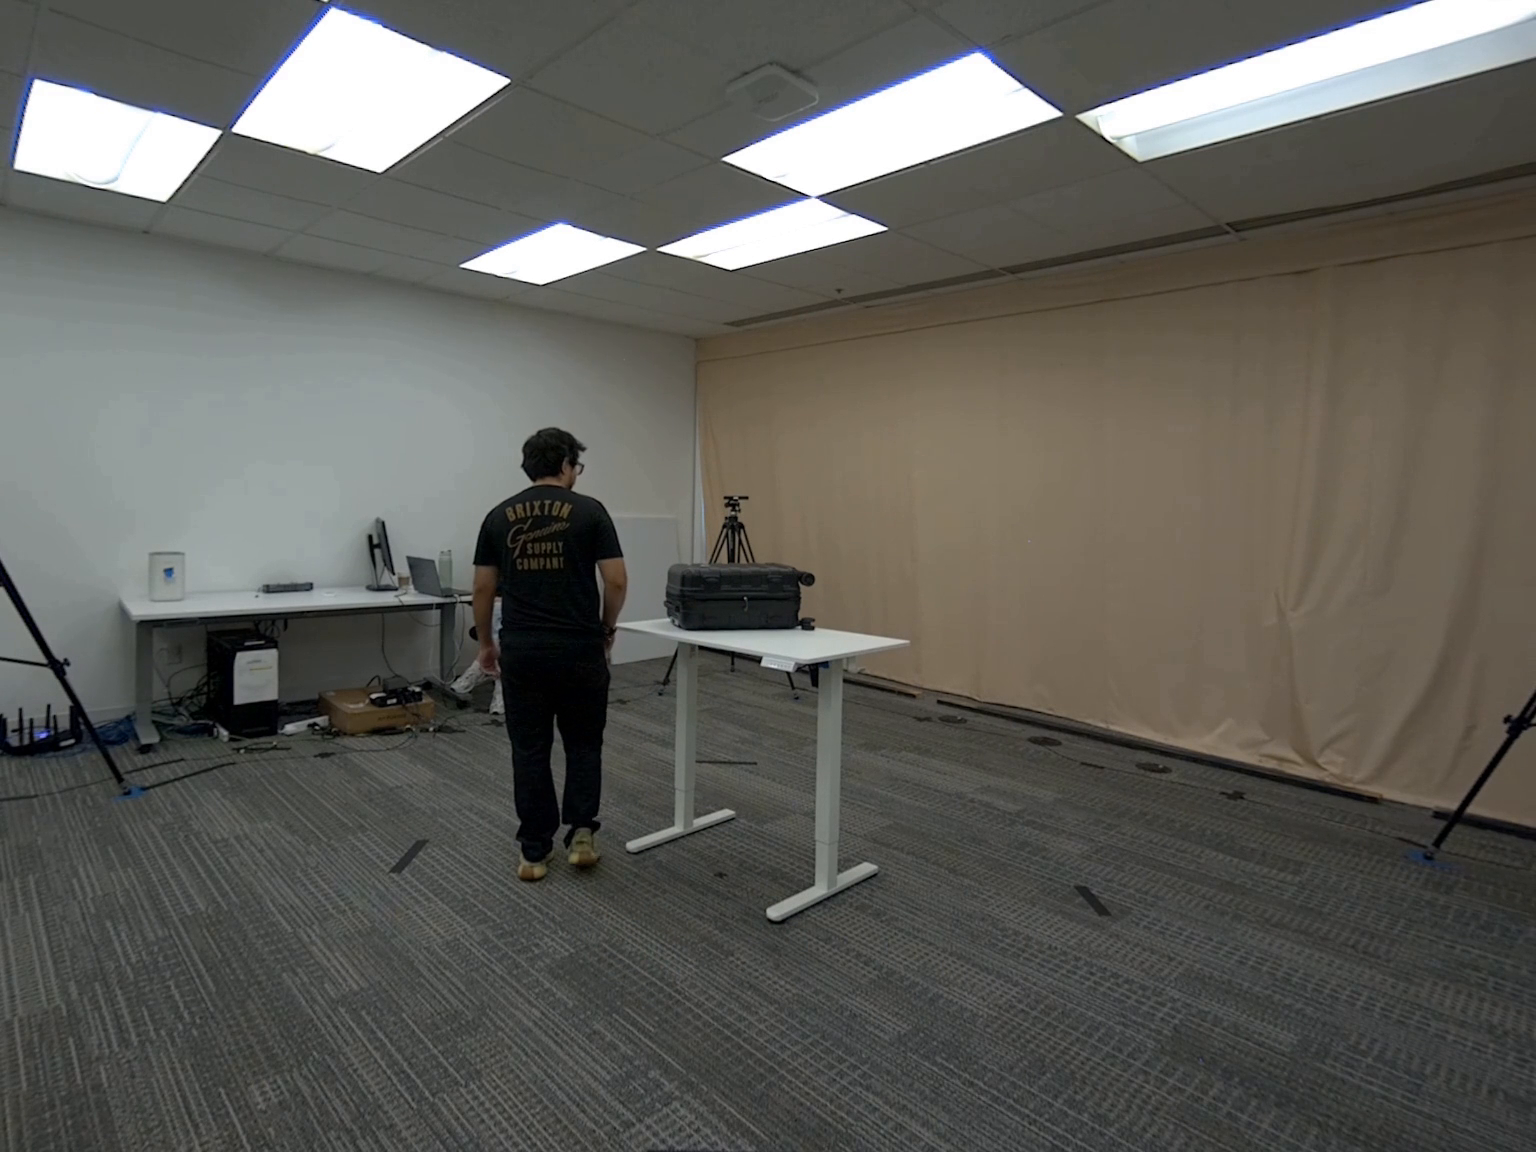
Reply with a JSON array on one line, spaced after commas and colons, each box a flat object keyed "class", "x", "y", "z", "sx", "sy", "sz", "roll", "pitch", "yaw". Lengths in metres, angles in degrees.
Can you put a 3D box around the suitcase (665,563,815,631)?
[{"class": "suitcase", "x": -0.134, "y": 0.081, "z": 3.385, "sx": 0.542, "sy": 0.248, "sz": 0.381, "roll": 0, "pitch": 4, "yaw": -16}]
